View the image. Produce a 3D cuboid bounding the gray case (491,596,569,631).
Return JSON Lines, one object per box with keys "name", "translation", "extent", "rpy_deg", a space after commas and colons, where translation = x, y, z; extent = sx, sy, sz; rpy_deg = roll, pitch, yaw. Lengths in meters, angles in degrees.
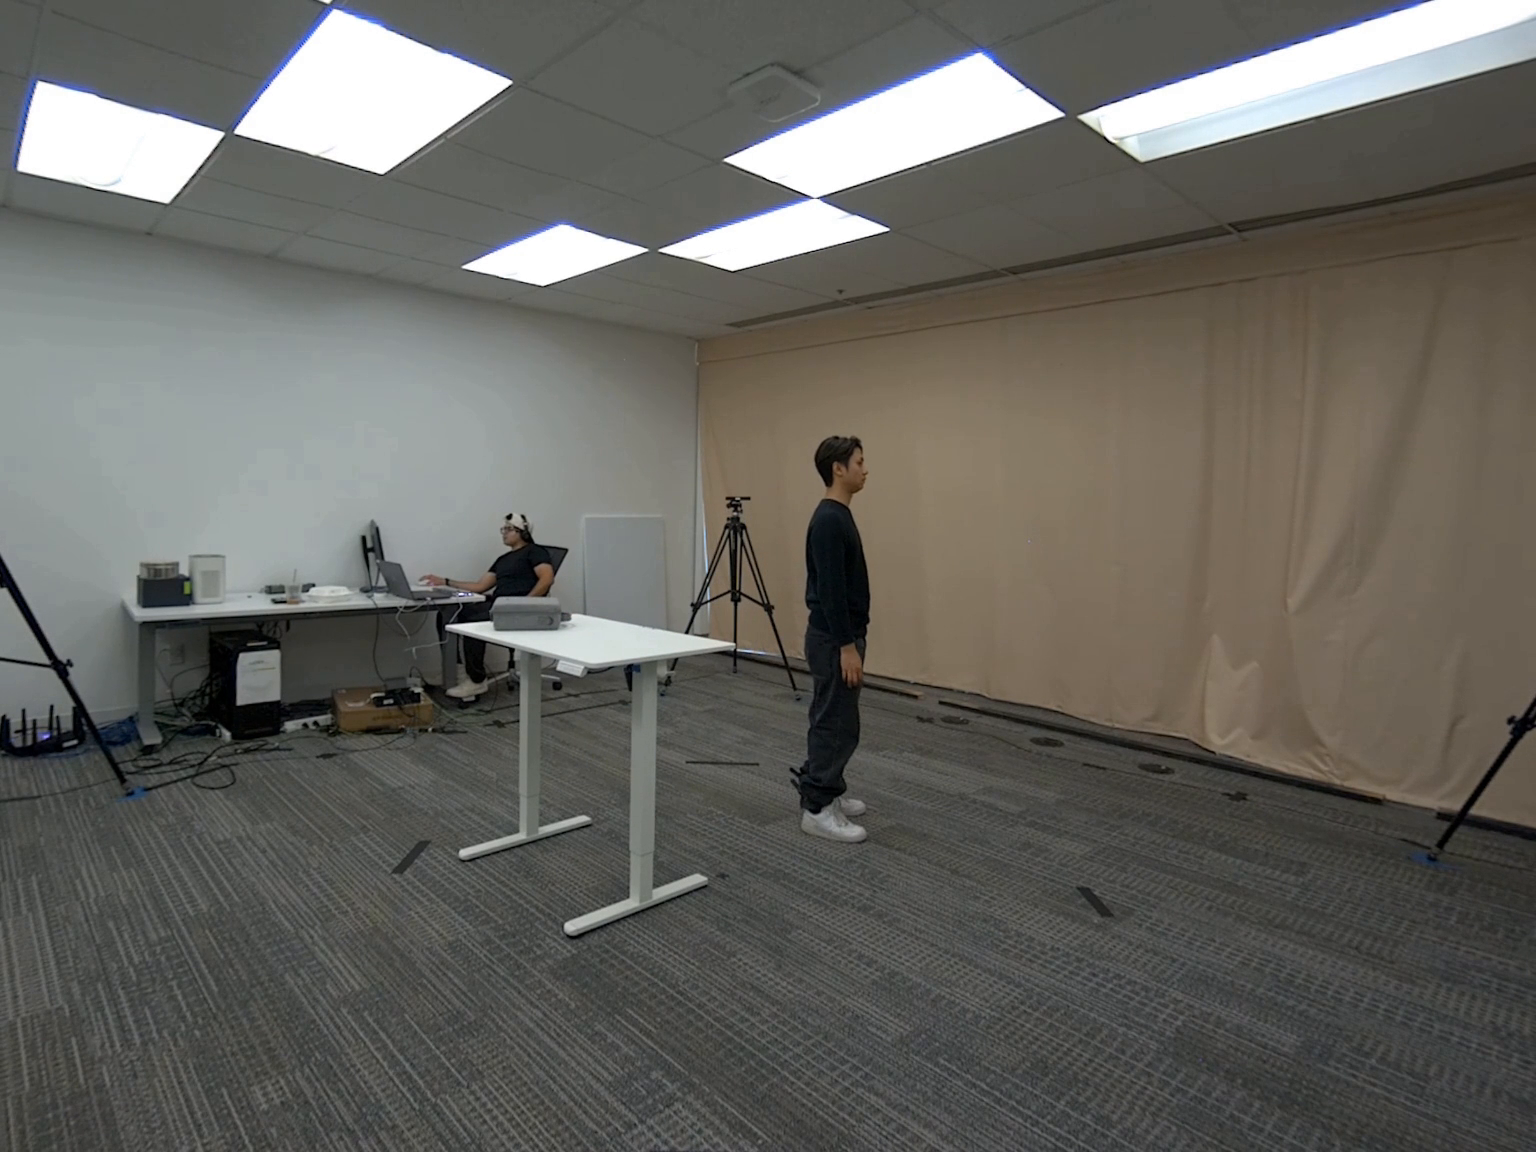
{"name": "gray case", "translation": [-0.936, 0.142, 3.258], "extent": [0.258, 0.104, 0.260], "rpy_deg": [0, 4, -14]}
